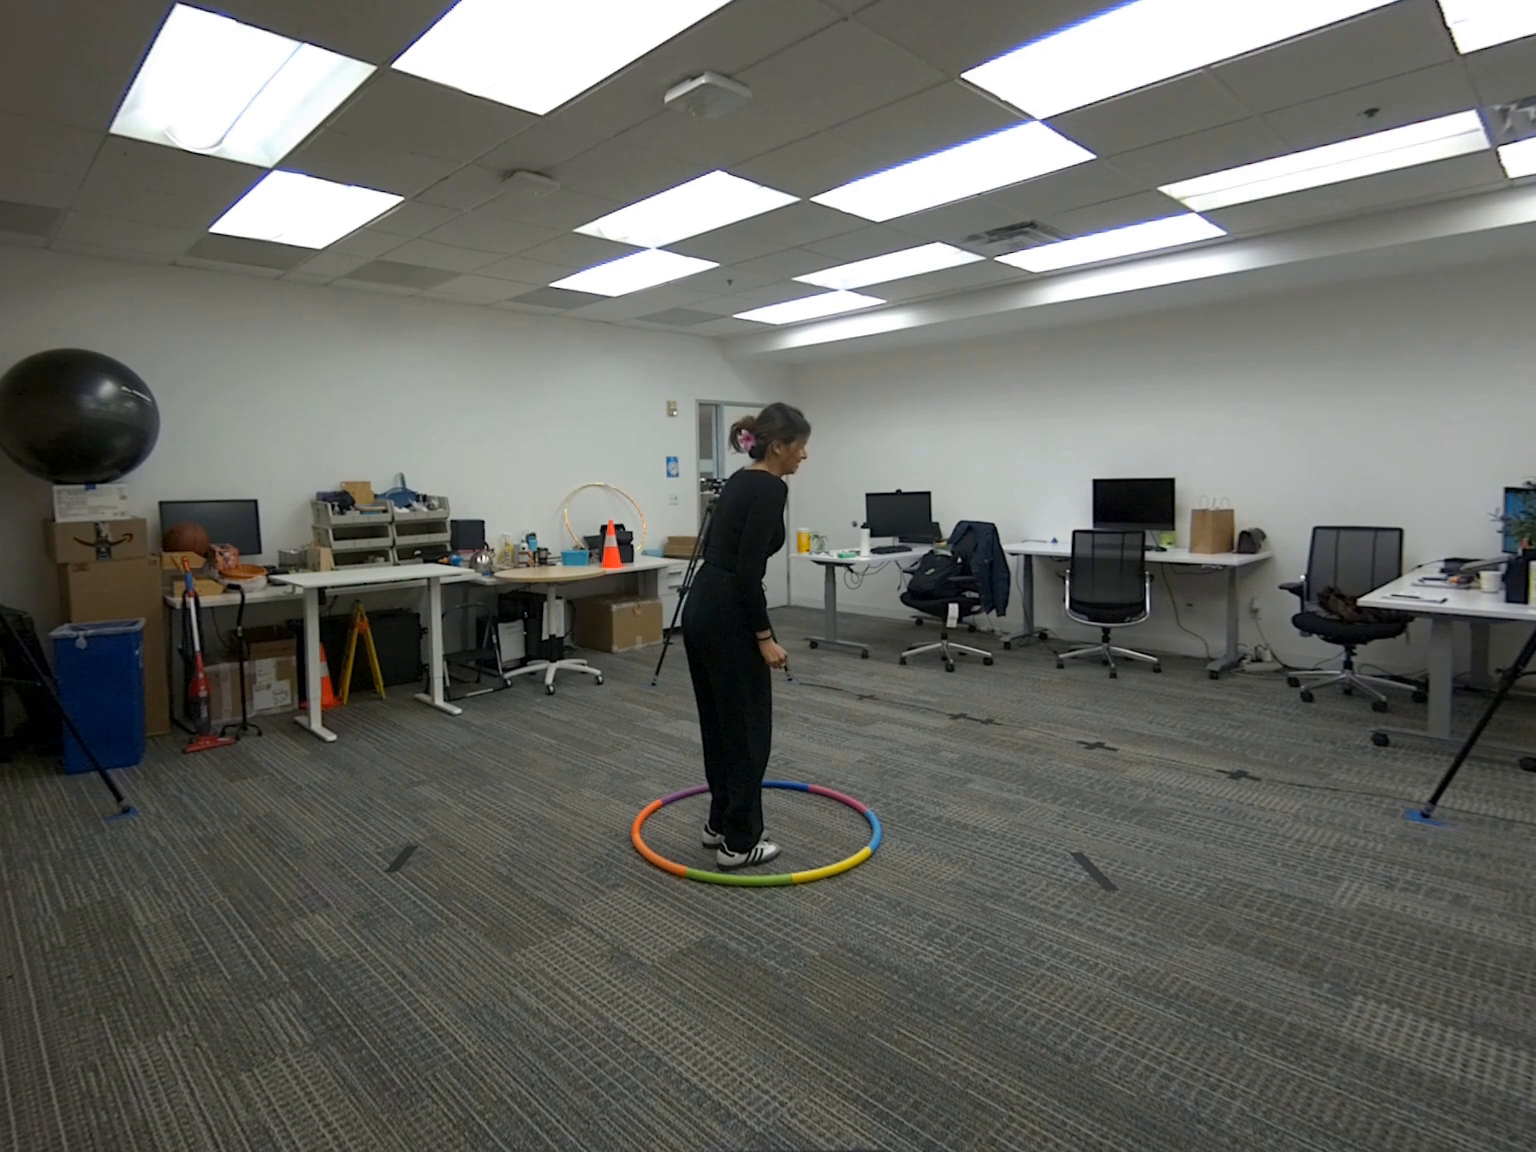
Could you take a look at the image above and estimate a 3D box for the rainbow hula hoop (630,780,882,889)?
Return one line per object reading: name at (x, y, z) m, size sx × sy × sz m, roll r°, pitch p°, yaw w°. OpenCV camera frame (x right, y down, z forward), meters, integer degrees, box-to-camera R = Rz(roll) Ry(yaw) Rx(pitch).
rainbow hula hoop at (-0.047, 0.982, 3.401) m, size 0.978 × 0.035 × 0.984 m, roll -1°, pitch 6°, yaw -2°
